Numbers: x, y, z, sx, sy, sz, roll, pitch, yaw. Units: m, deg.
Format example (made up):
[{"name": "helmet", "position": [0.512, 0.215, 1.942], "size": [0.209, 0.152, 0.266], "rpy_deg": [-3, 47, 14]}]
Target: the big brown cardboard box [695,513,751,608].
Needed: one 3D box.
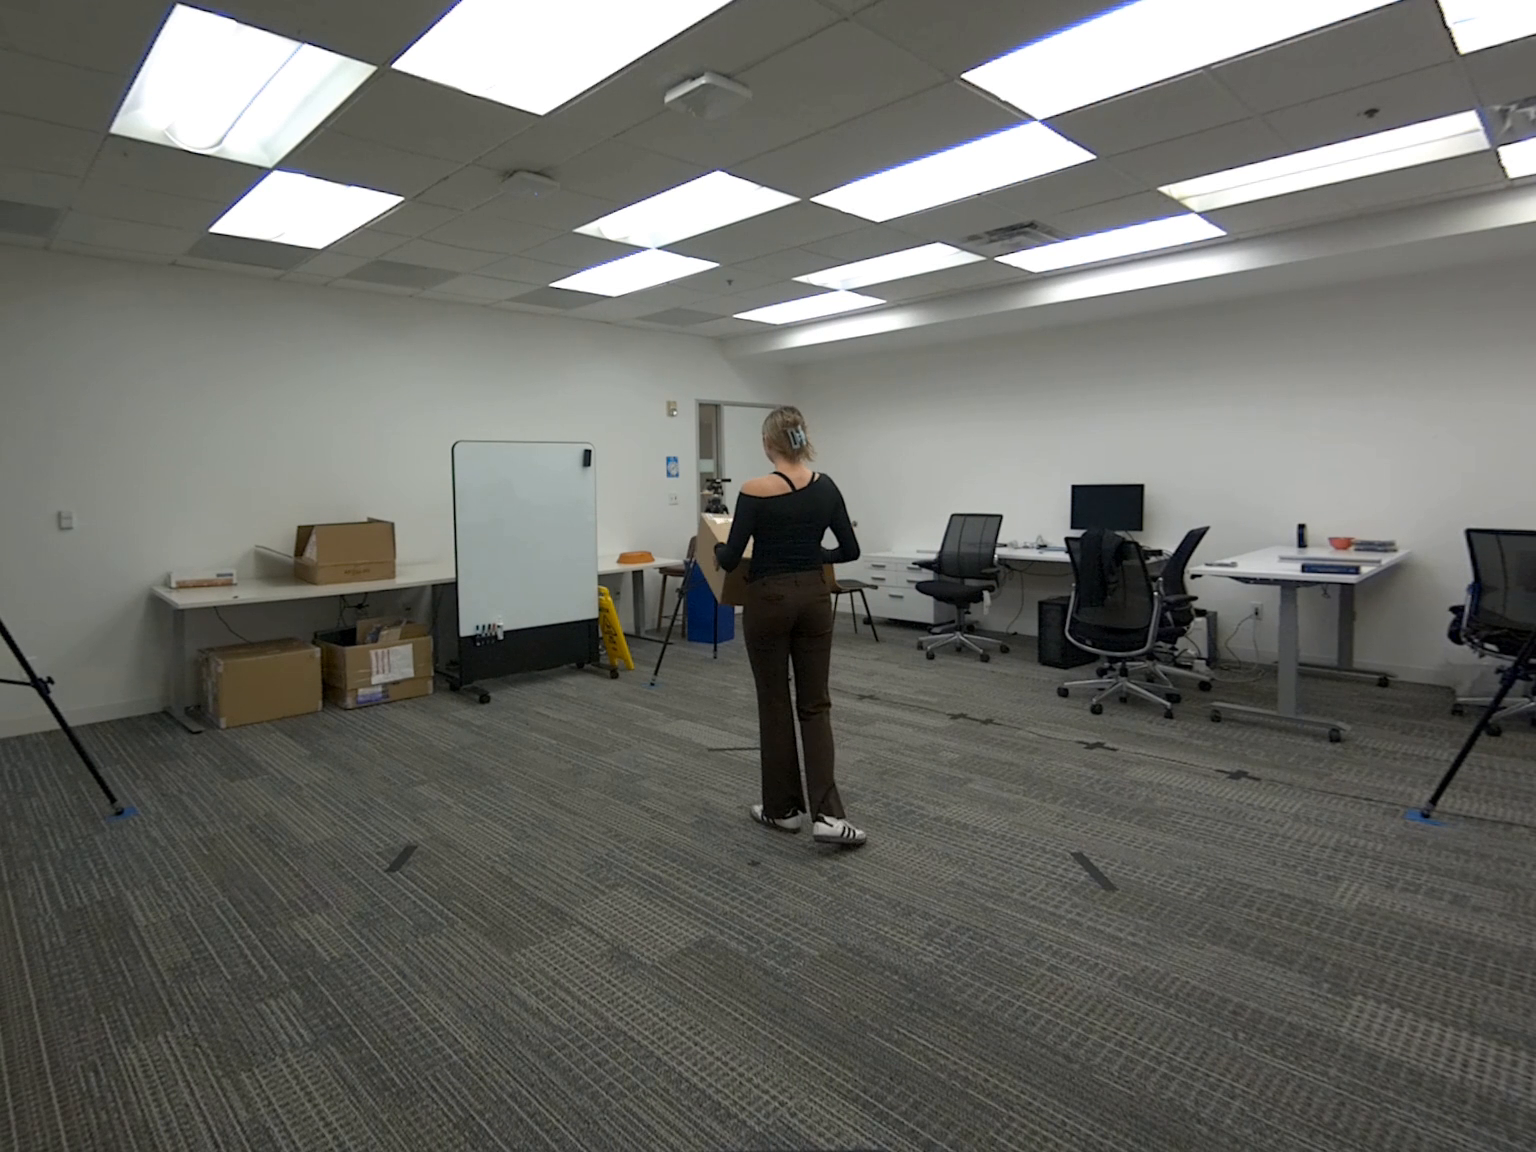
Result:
[{"name": "big brown cardboard box", "position": [-0.055, -0.071, 3.777], "size": [0.410, 0.230, 0.607], "rpy_deg": [5, 21, -17]}]
